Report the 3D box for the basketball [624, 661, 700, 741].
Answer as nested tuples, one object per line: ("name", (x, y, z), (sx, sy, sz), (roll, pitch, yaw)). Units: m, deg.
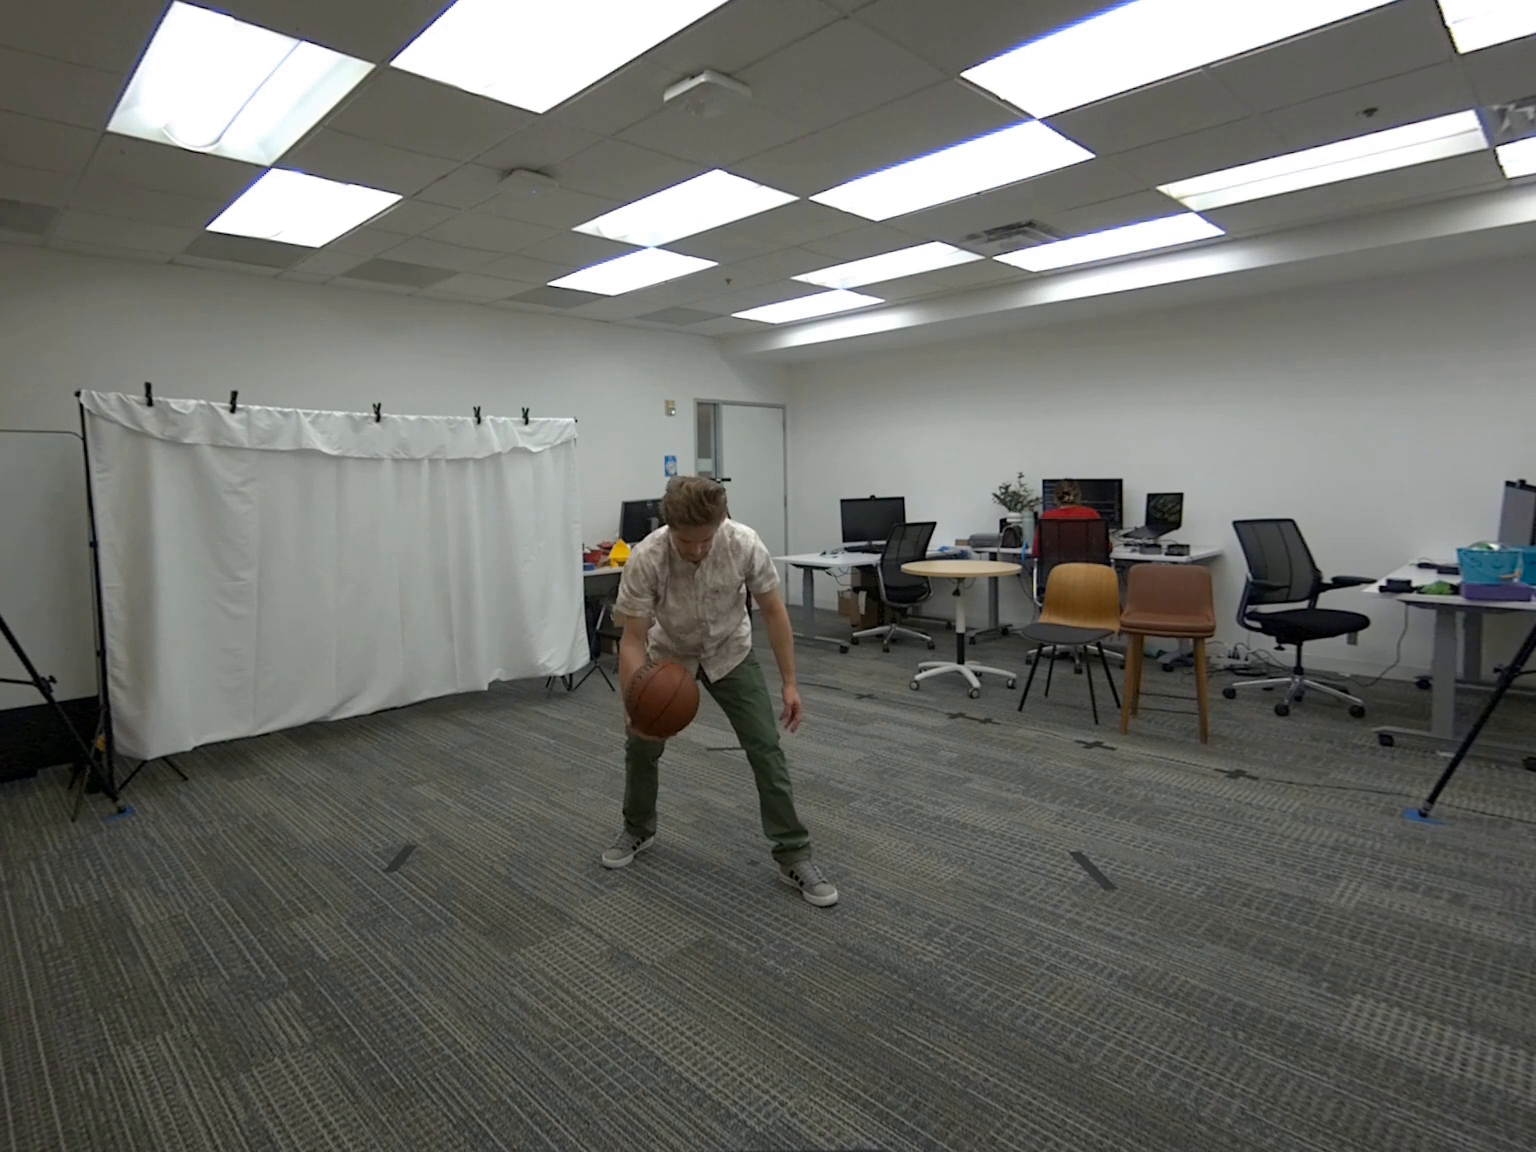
("basketball", (-0.333, 0.385, 2.714), (0.236, 0.235, 0.237), (-1, 5, -2))
